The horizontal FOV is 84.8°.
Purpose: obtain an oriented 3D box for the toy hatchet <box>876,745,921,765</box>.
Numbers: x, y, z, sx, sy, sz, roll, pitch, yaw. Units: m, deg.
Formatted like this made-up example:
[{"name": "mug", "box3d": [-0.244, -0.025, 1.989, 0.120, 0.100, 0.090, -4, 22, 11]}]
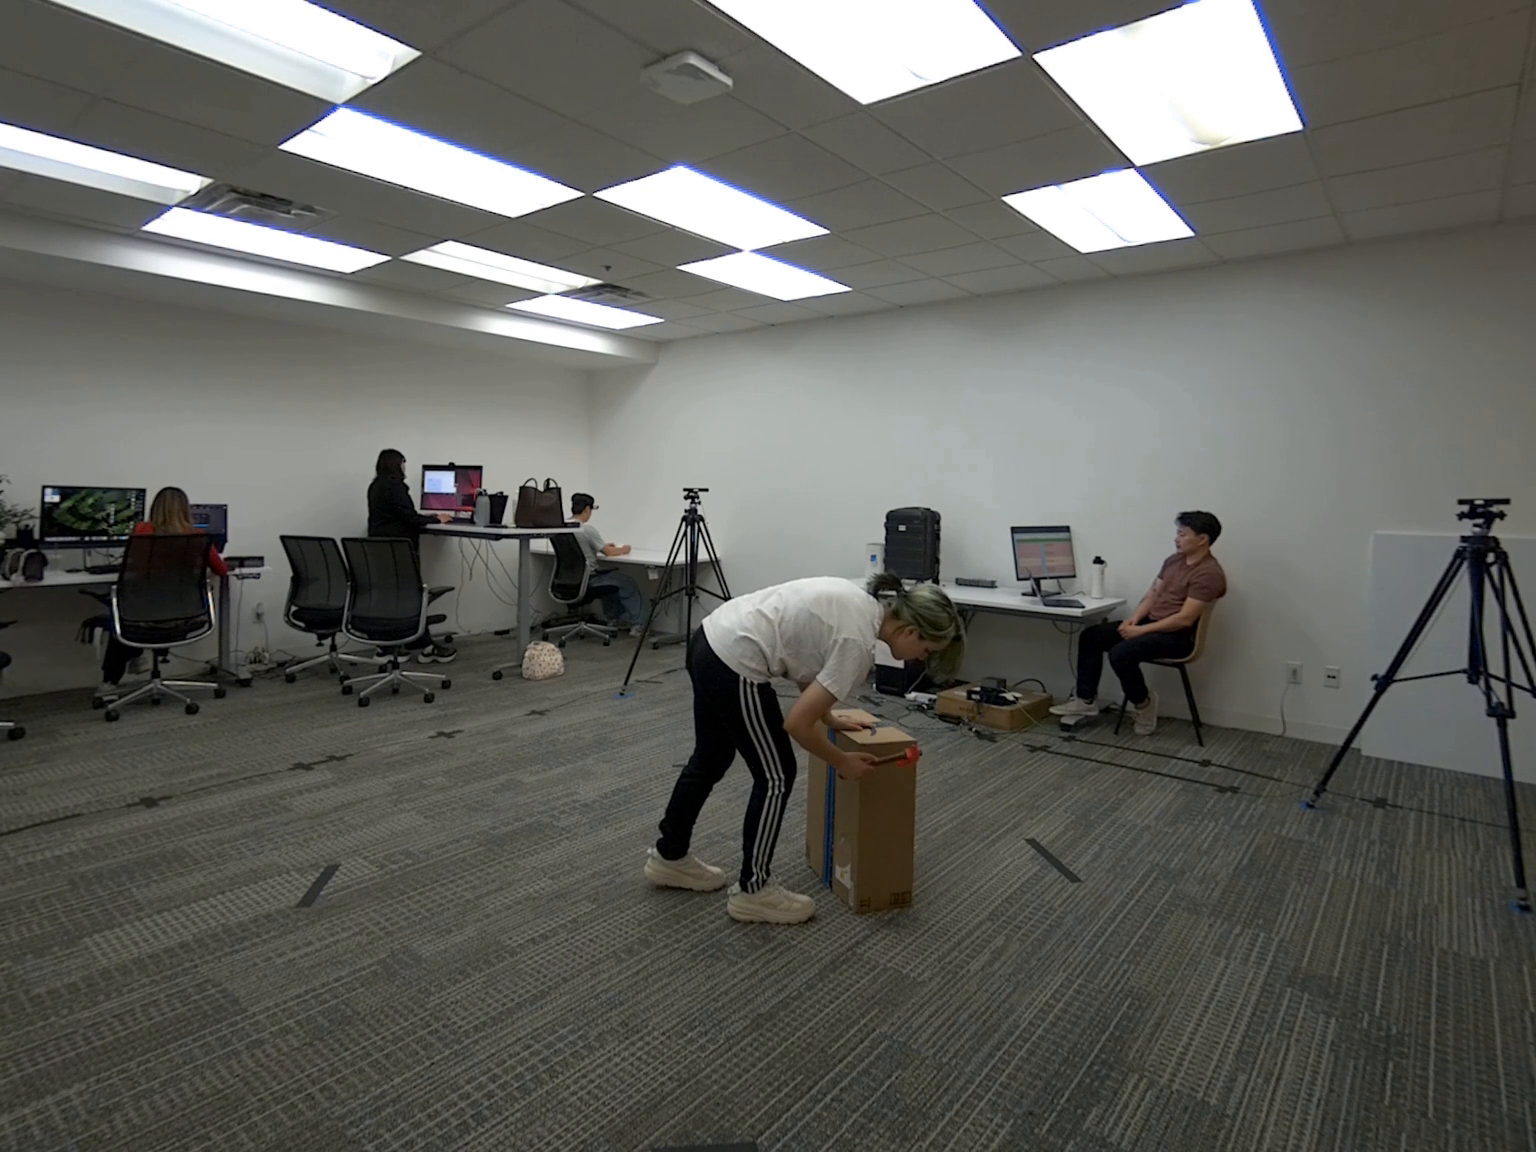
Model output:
[{"name": "toy hatchet", "box3d": [0.361, 0.624, 2.748, 0.272, 0.030, 0.125, -21, -40, 14]}]
